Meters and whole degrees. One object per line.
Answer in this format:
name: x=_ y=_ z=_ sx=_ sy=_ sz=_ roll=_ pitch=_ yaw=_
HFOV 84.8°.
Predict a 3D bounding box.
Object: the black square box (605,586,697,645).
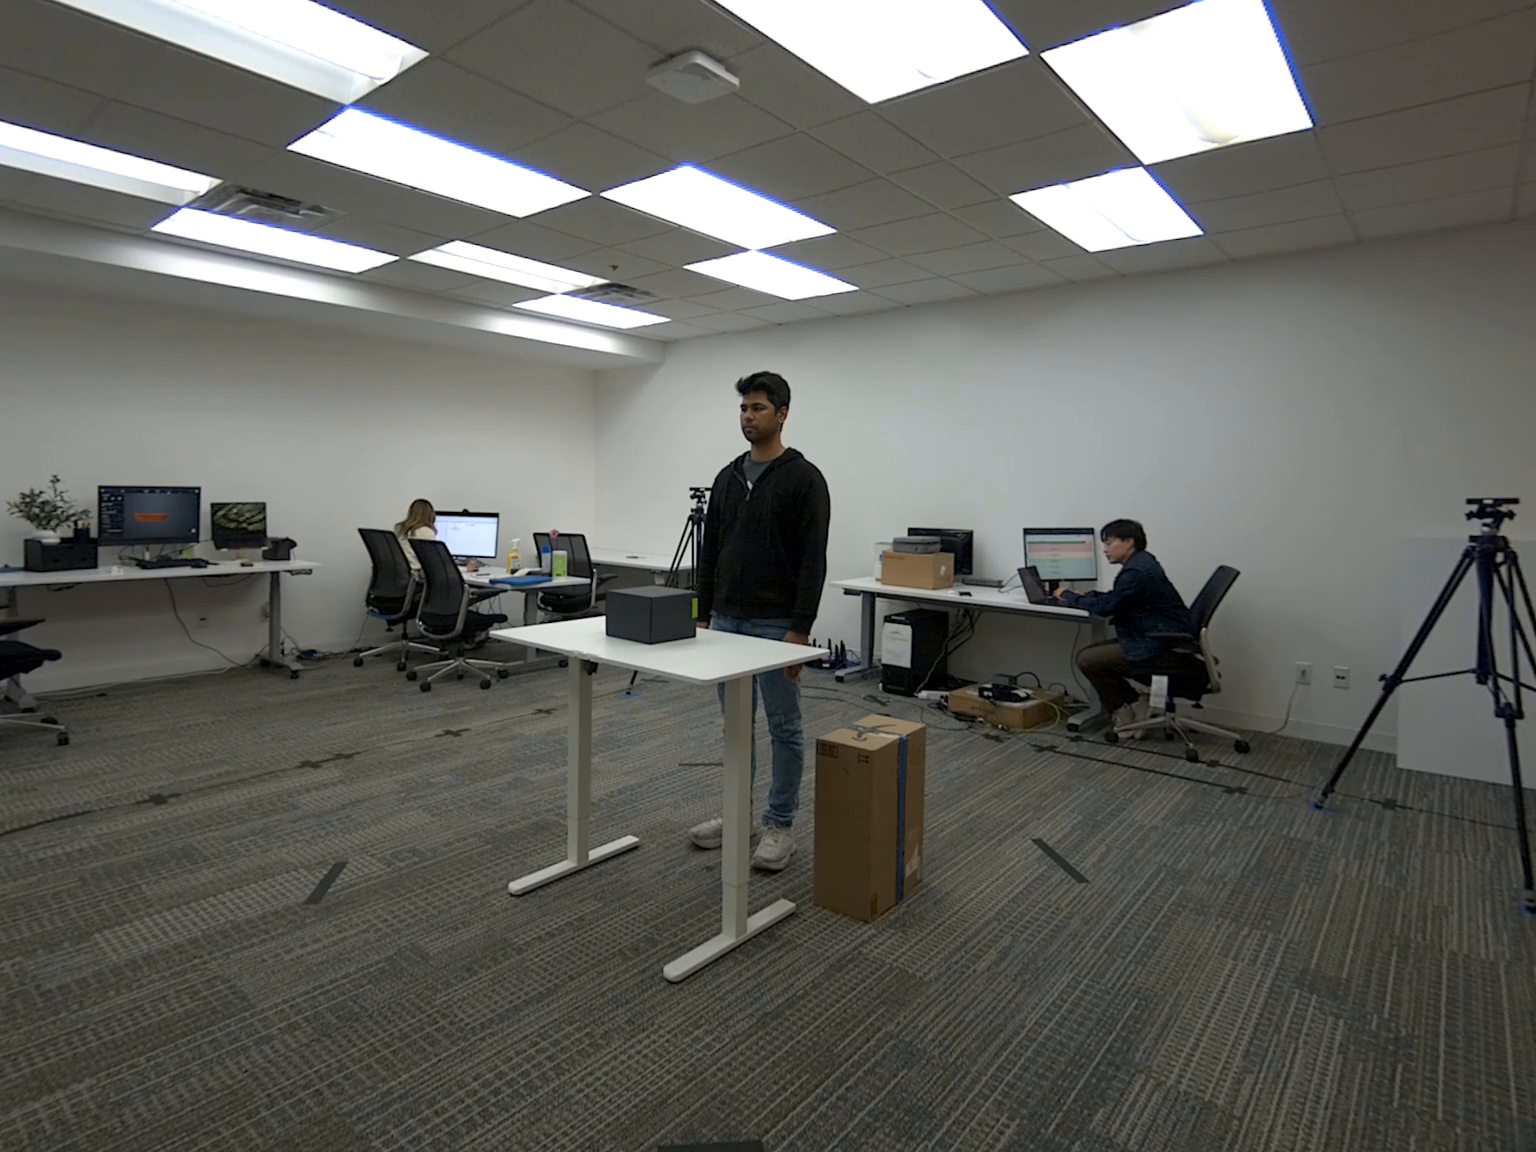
black square box: x=-0.403 y=0.124 z=2.877 sx=0.236 sy=0.155 sz=0.210 roll=5 pitch=6 yaw=40
